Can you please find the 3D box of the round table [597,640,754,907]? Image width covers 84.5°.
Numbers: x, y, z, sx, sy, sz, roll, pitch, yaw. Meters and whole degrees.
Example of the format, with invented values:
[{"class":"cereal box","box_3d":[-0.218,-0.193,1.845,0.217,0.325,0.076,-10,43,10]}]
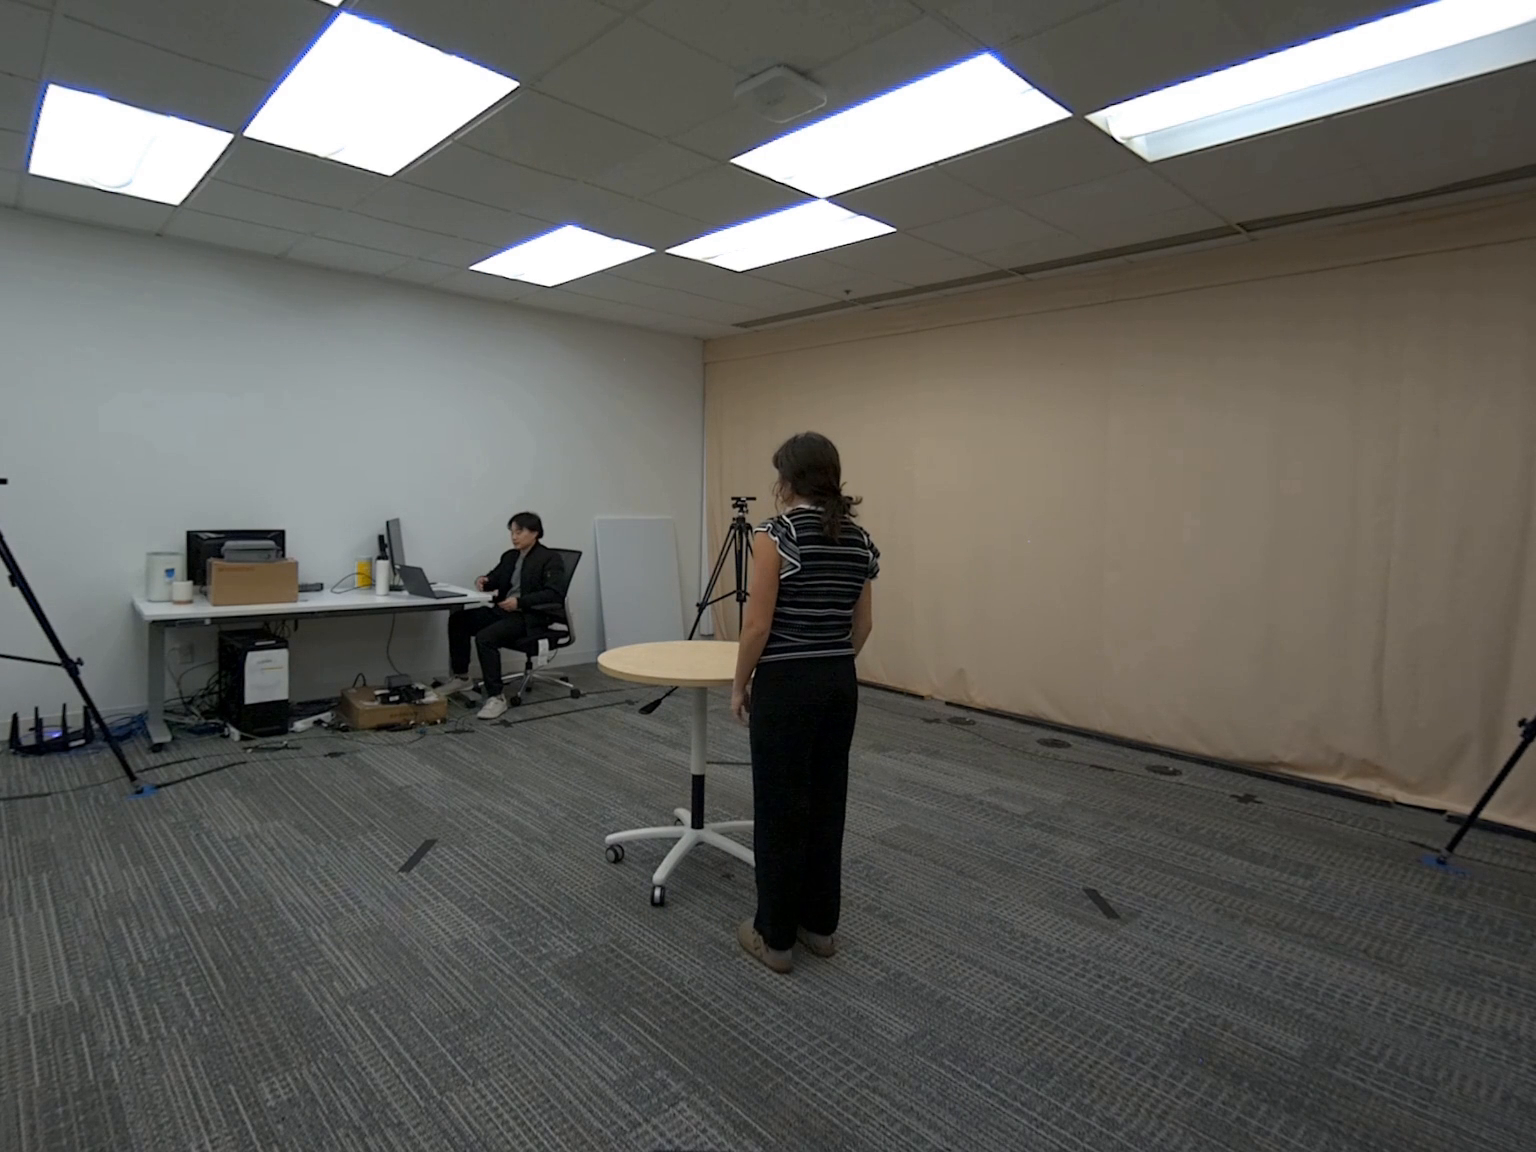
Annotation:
[{"class":"round table","box_3d":[-0.268,0.706,3.183,0.763,0.792,0.766,1,4,-1]}]
